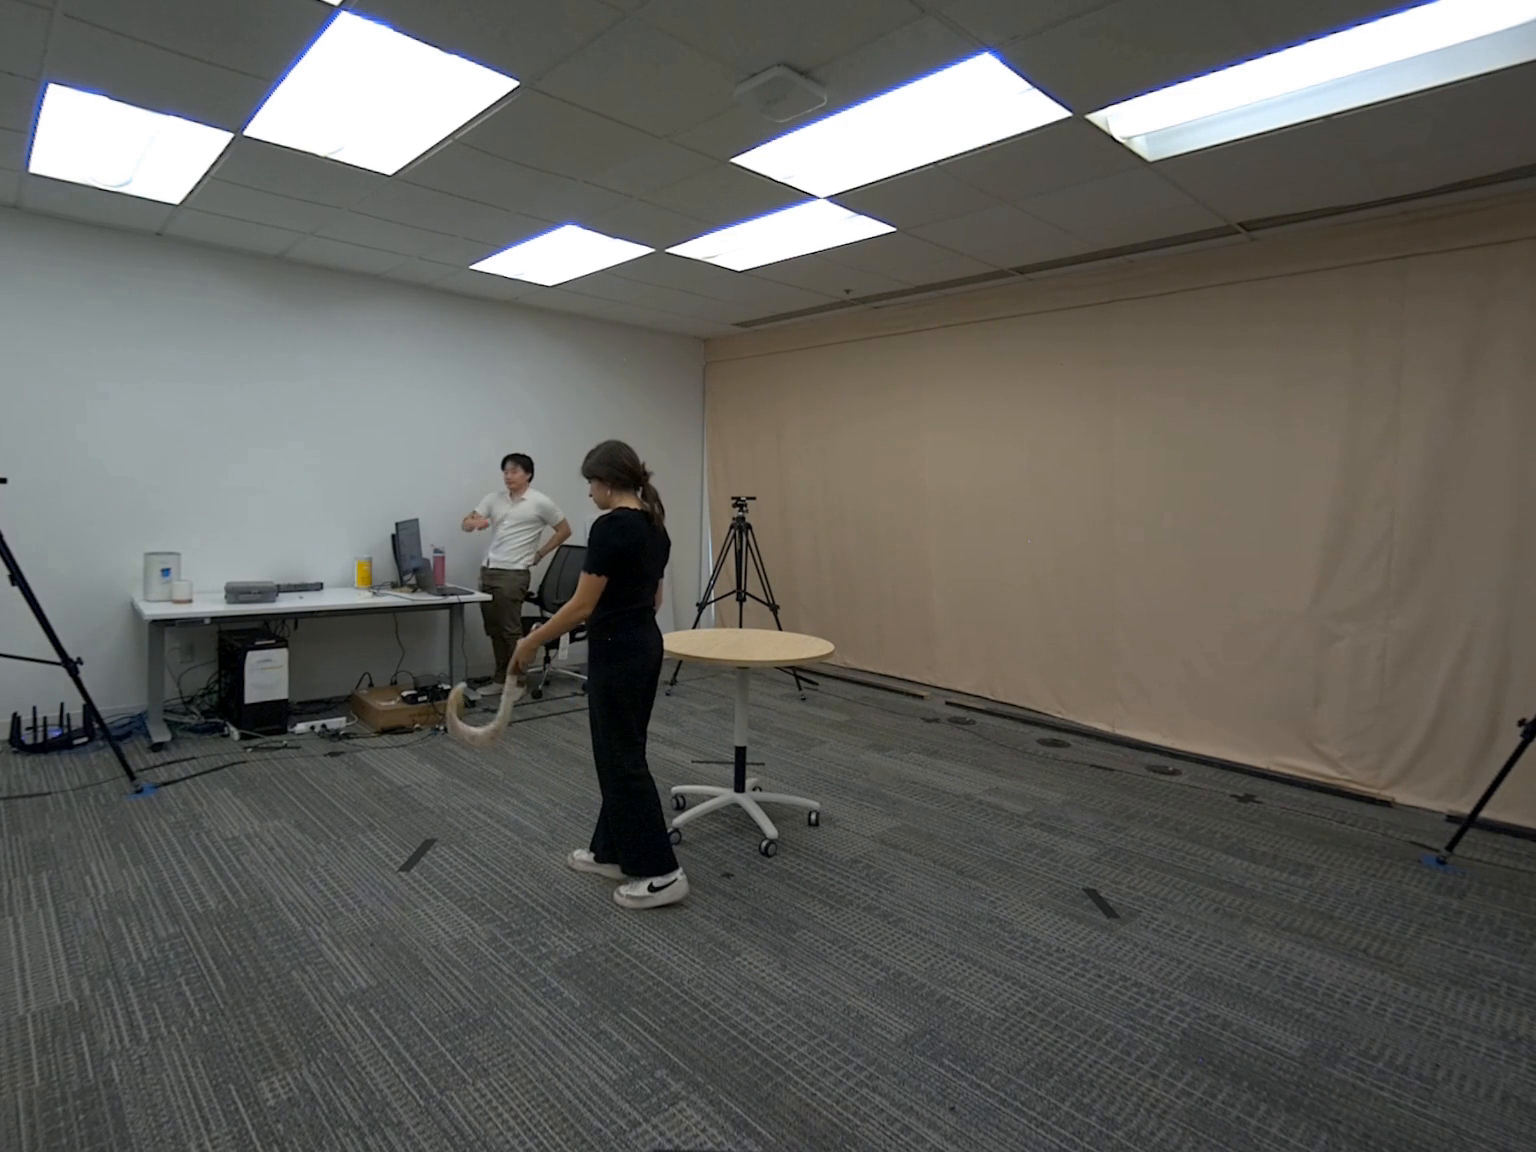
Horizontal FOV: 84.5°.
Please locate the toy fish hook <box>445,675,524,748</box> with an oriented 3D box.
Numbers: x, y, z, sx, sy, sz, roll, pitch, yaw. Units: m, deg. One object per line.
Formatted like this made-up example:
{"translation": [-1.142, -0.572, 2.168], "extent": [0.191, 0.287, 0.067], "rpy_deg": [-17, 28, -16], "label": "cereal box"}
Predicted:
{"translation": [-0.953, 0.339, 2.941], "extent": [0.223, 0.506, 0.048], "rpy_deg": [28, 3, -4], "label": "toy fish hook"}
